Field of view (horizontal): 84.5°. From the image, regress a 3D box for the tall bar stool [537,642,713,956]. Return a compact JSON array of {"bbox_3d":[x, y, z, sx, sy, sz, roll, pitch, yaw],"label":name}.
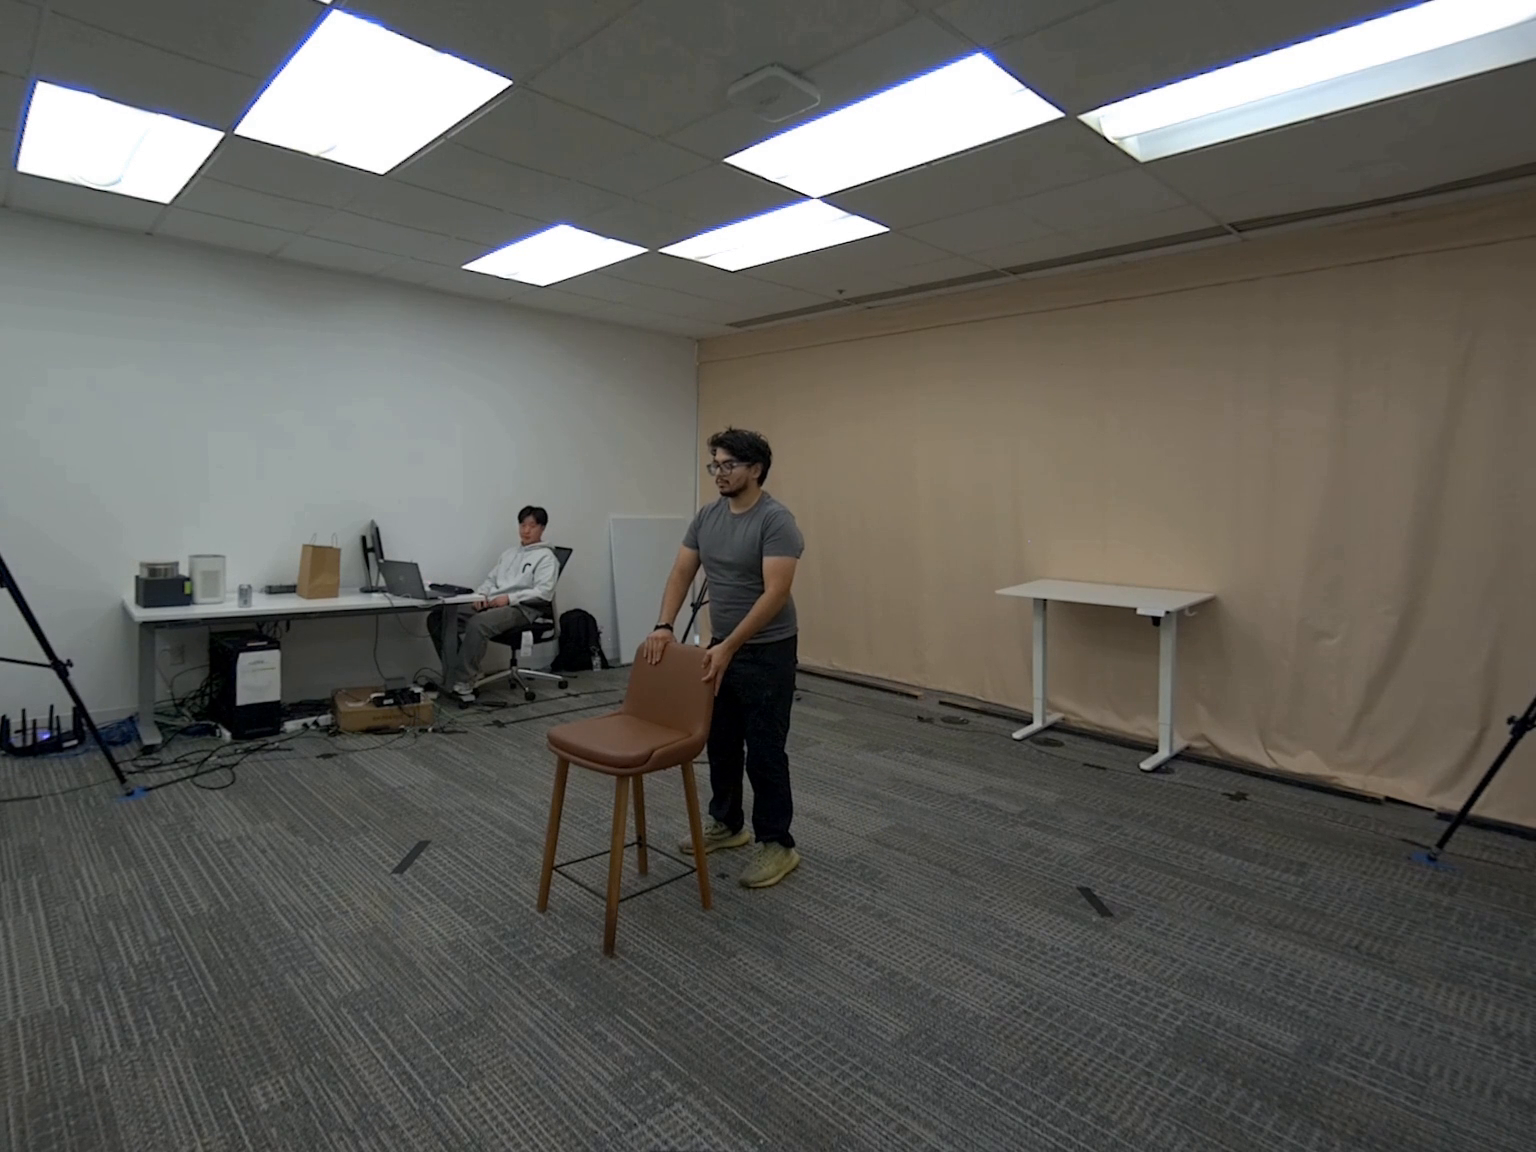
[{"bbox_3d":[-0.463,0.688,2.815,0.468,0.888,0.456,5,3,45],"label":"tall bar stool"}]
